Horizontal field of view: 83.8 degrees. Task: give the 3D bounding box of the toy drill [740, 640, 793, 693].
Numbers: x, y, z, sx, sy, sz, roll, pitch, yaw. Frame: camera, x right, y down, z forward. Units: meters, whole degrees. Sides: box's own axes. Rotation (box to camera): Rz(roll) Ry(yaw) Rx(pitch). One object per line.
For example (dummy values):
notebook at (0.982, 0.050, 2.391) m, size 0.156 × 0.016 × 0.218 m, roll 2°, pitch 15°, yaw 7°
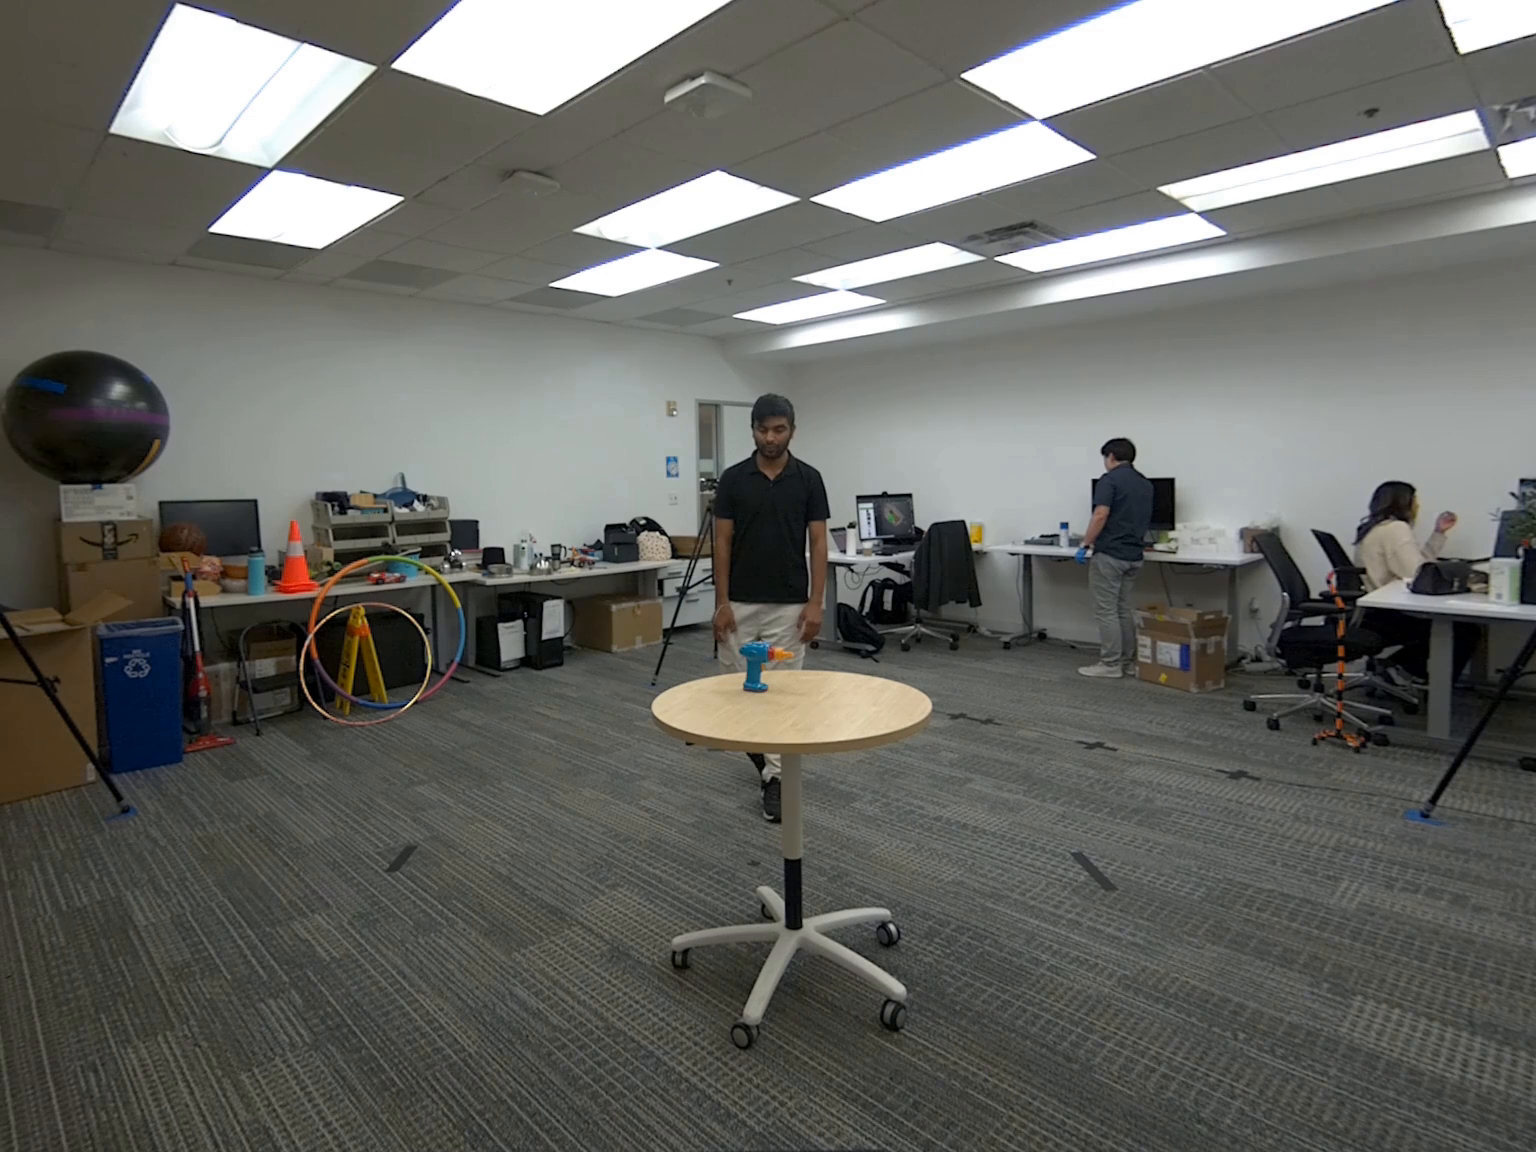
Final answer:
toy drill at (-0.005, 0.264, 2.469) m, size 0.173 × 0.145 × 0.060 m, roll 0°, pitch 5°, yaw 24°
